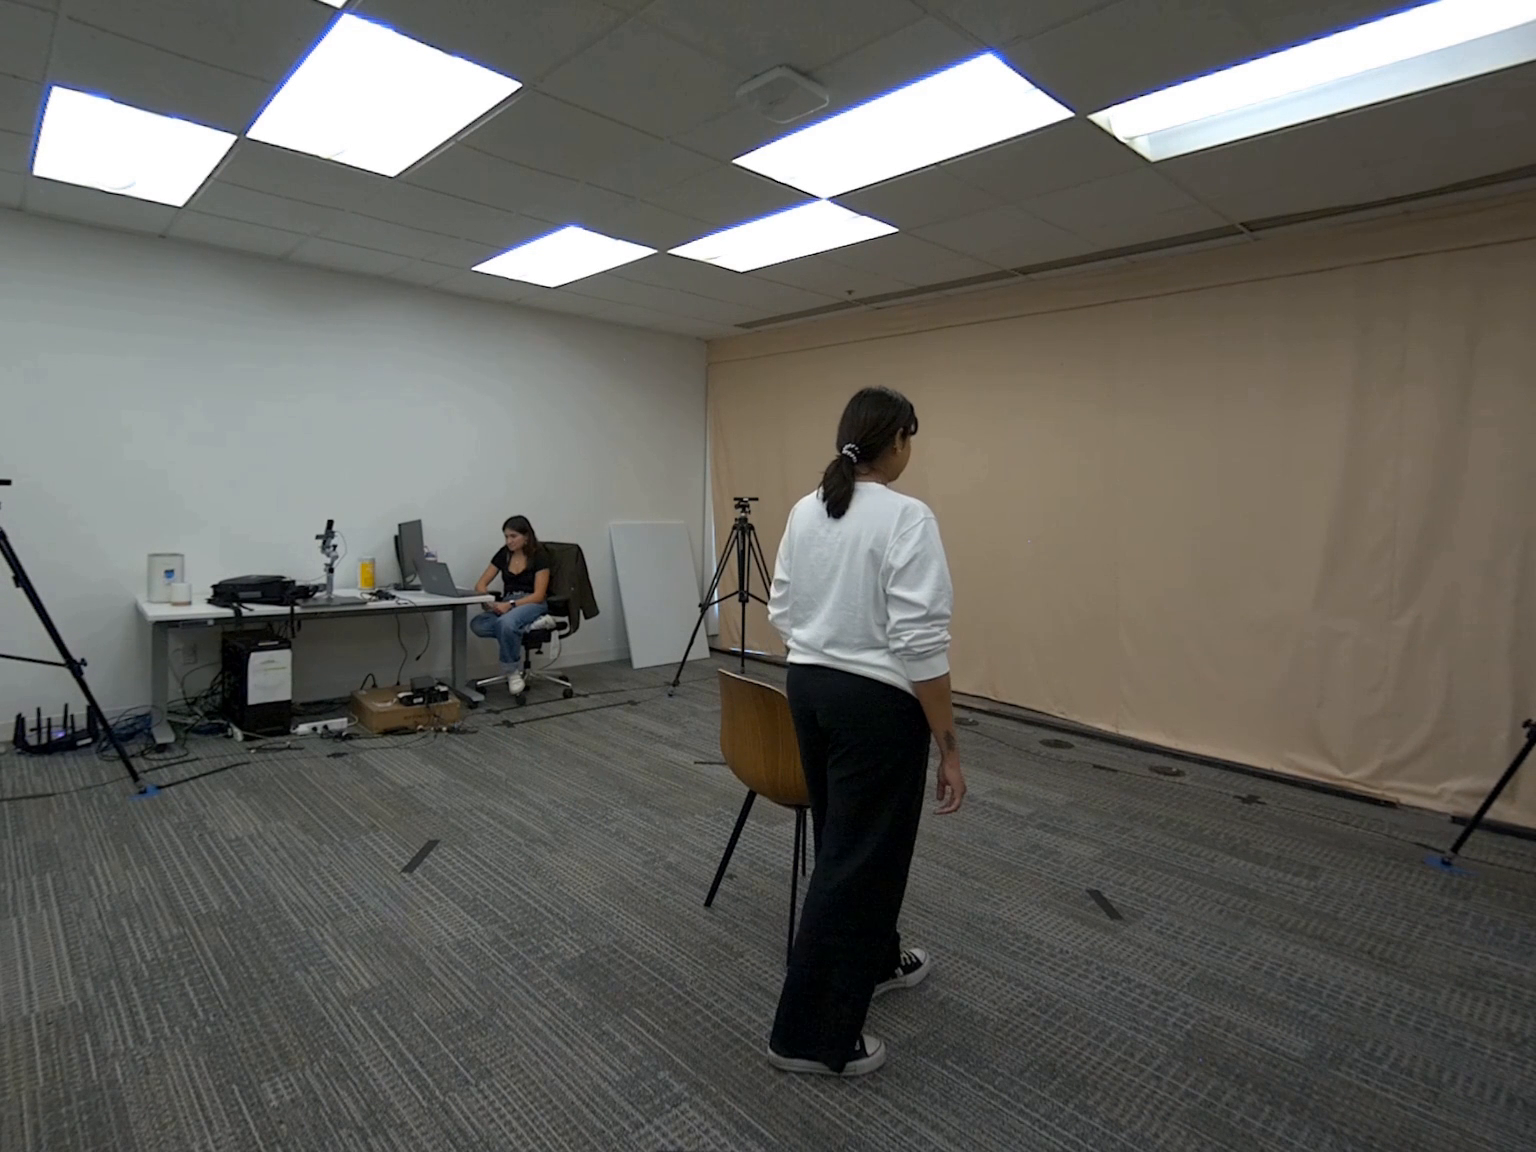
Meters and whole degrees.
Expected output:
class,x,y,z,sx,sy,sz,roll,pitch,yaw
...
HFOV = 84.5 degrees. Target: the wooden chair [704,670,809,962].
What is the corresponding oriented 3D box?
class,x,y,z,sx,sy,sz,roll,pitch,yaw
wooden chair,0.107,0.711,2.796,0.512,0.873,0.490,-7,8,-37
